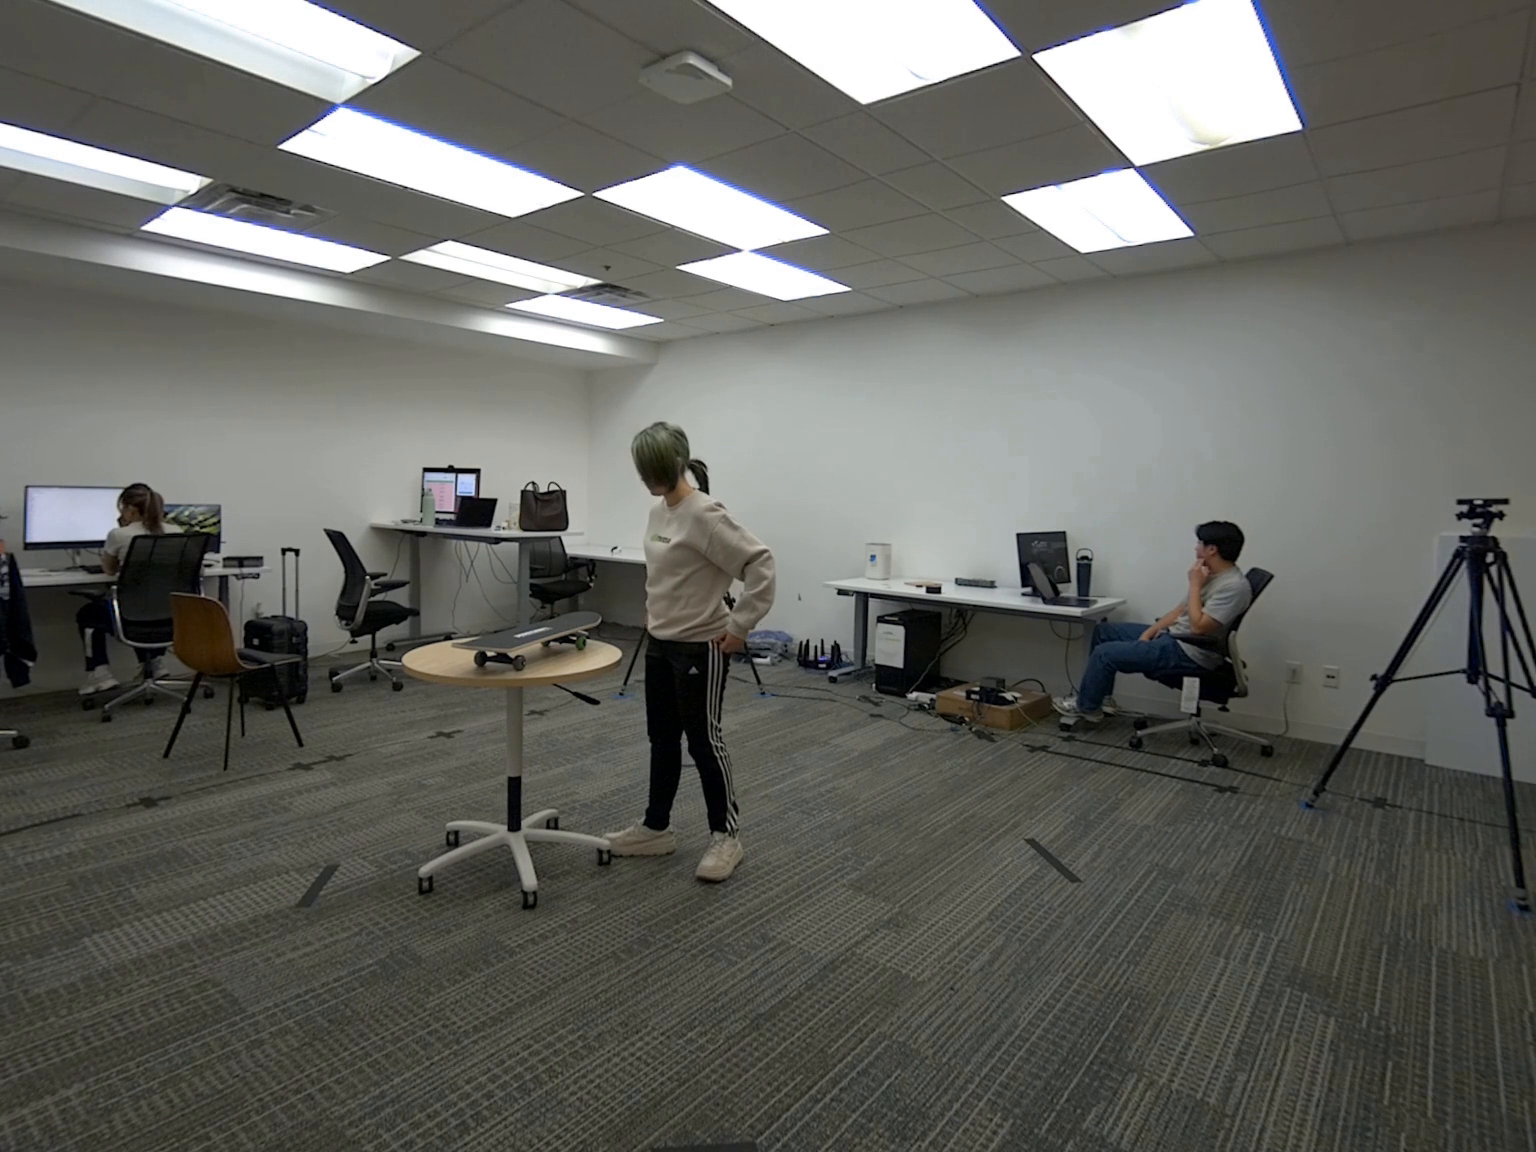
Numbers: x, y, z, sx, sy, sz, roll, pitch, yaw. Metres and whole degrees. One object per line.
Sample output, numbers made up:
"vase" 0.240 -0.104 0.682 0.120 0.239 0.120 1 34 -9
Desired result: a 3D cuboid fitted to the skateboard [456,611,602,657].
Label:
"skateboard" -0.845 0.235 3.021 0.198 0.110 0.772 5 7 18
